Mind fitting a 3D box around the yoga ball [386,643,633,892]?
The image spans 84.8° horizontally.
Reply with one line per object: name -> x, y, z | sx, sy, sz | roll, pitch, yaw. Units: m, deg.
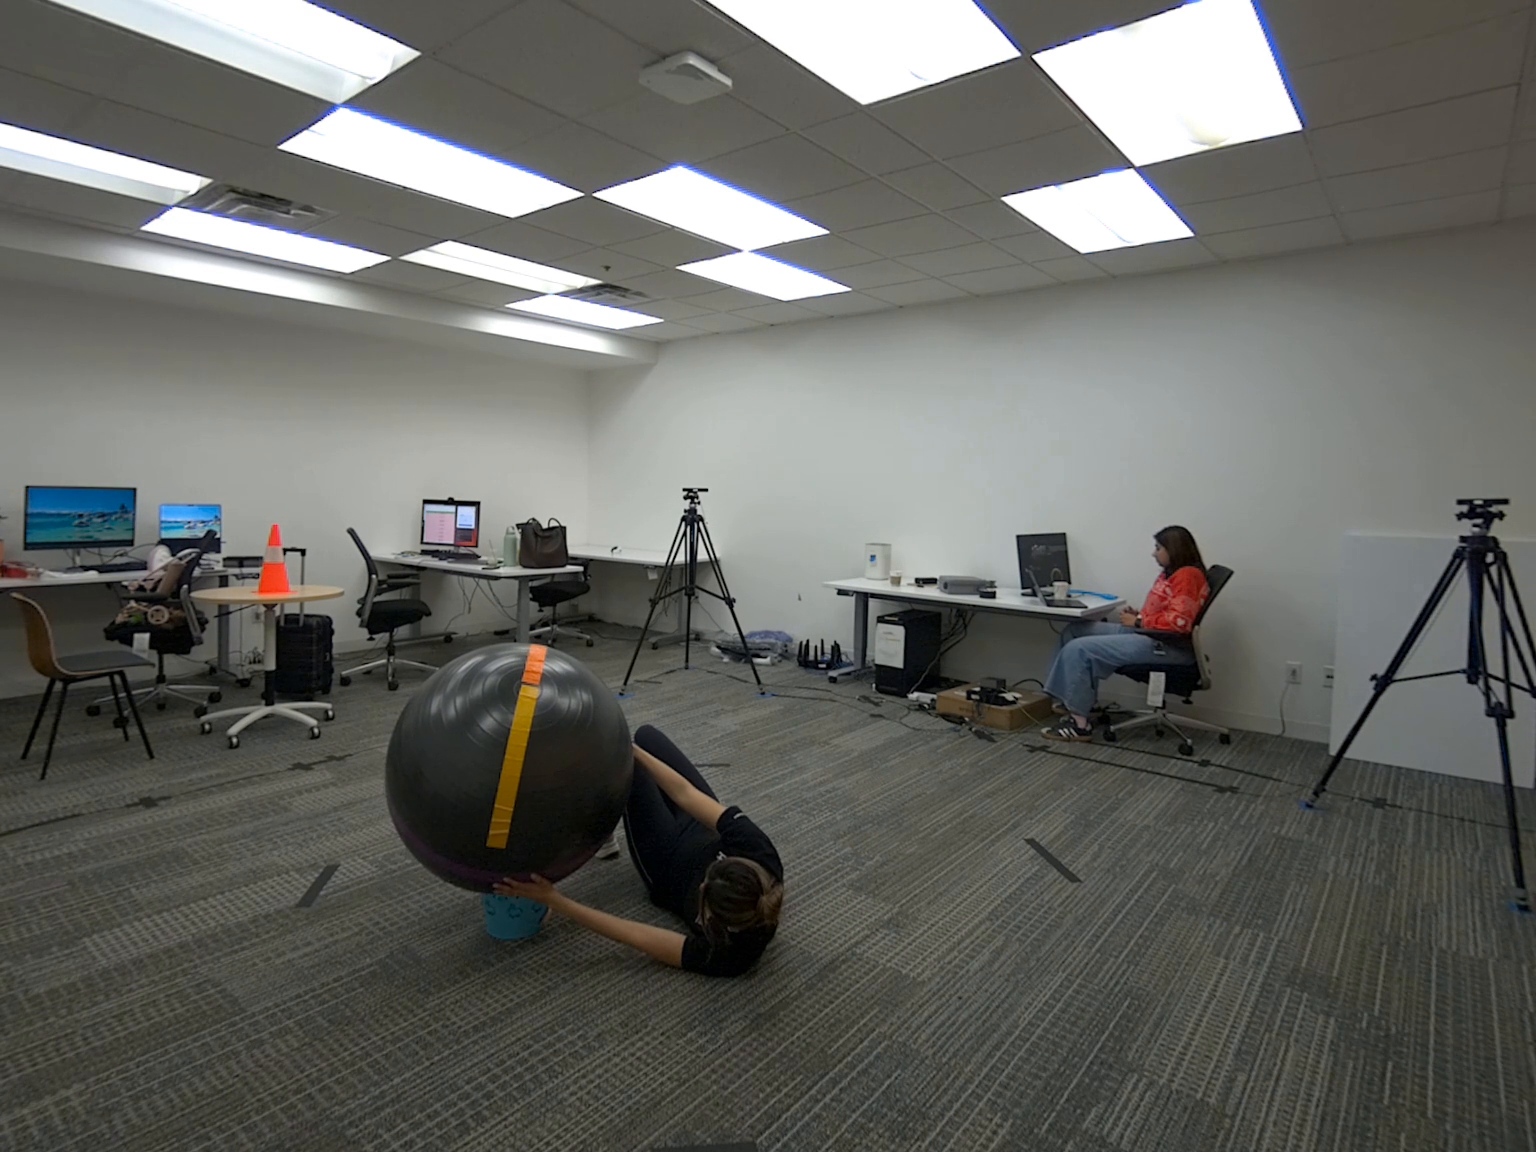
yoga ball -> -0.818, 0.599, 2.668 | 0.757, 0.756, 0.761 | -3, 3, -2
